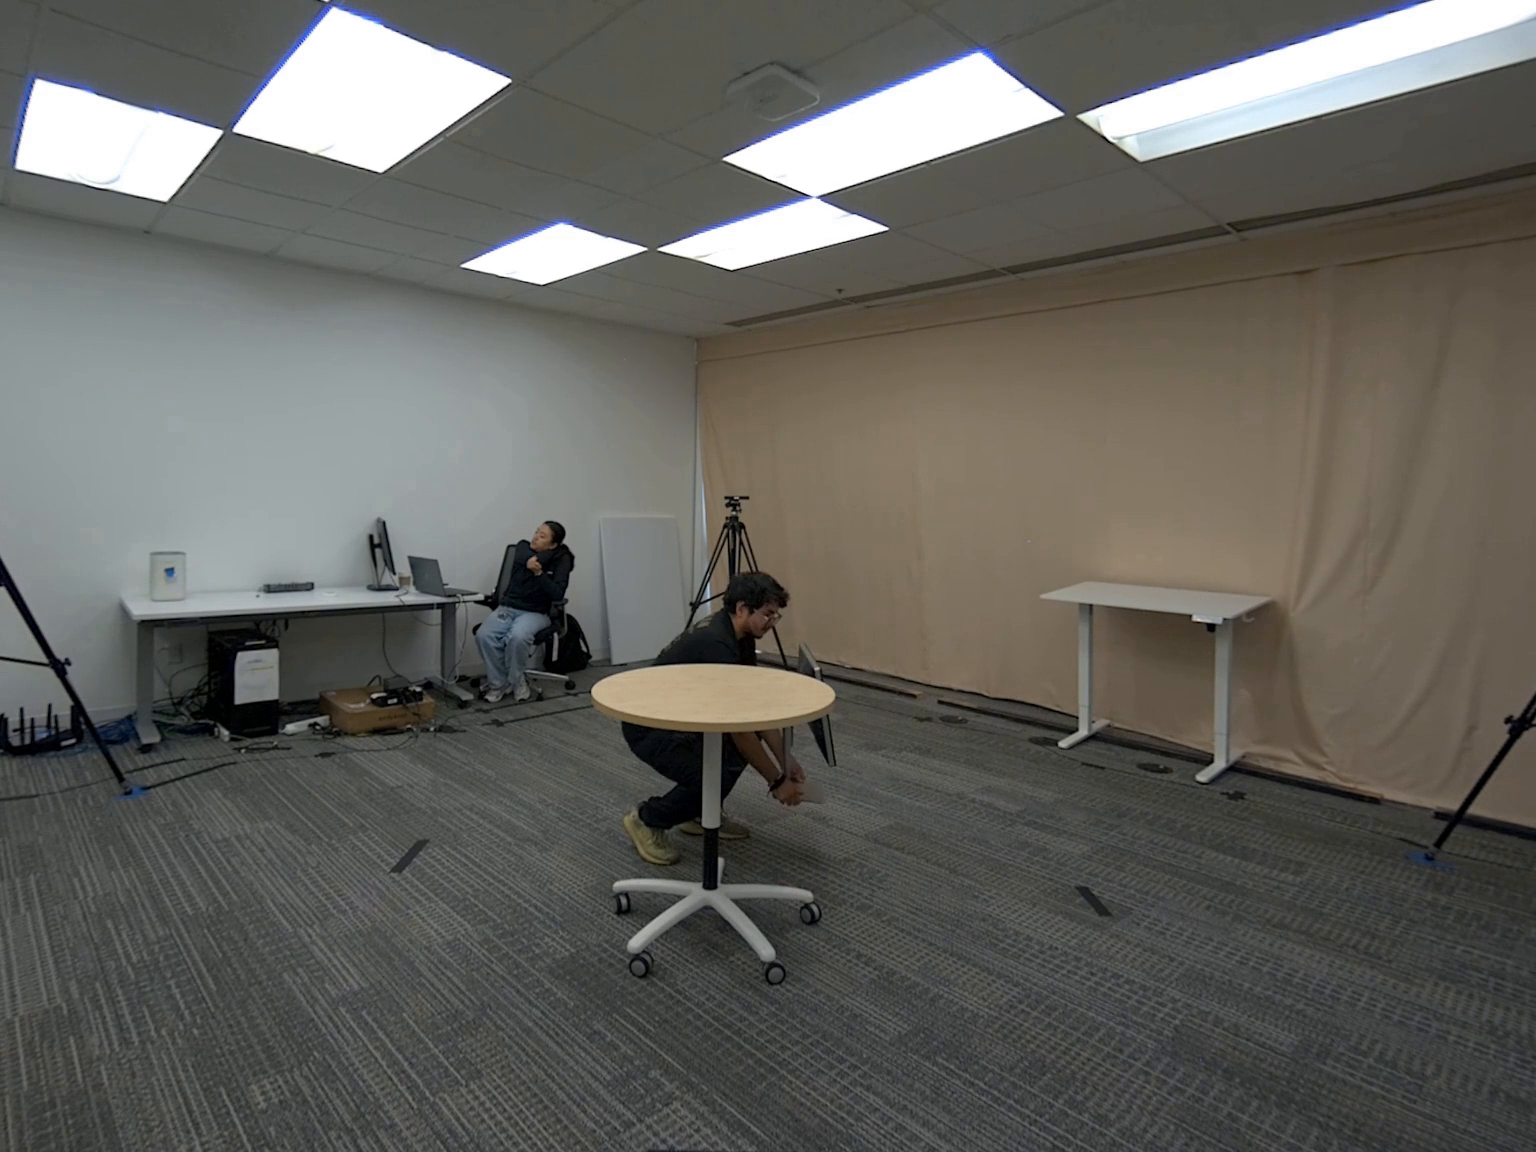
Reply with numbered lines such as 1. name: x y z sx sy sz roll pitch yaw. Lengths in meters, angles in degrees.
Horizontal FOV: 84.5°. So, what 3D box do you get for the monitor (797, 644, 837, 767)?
1. monitor: 0.110 0.577 3.289 0.210 0.553 0.567 -3 4 -3
